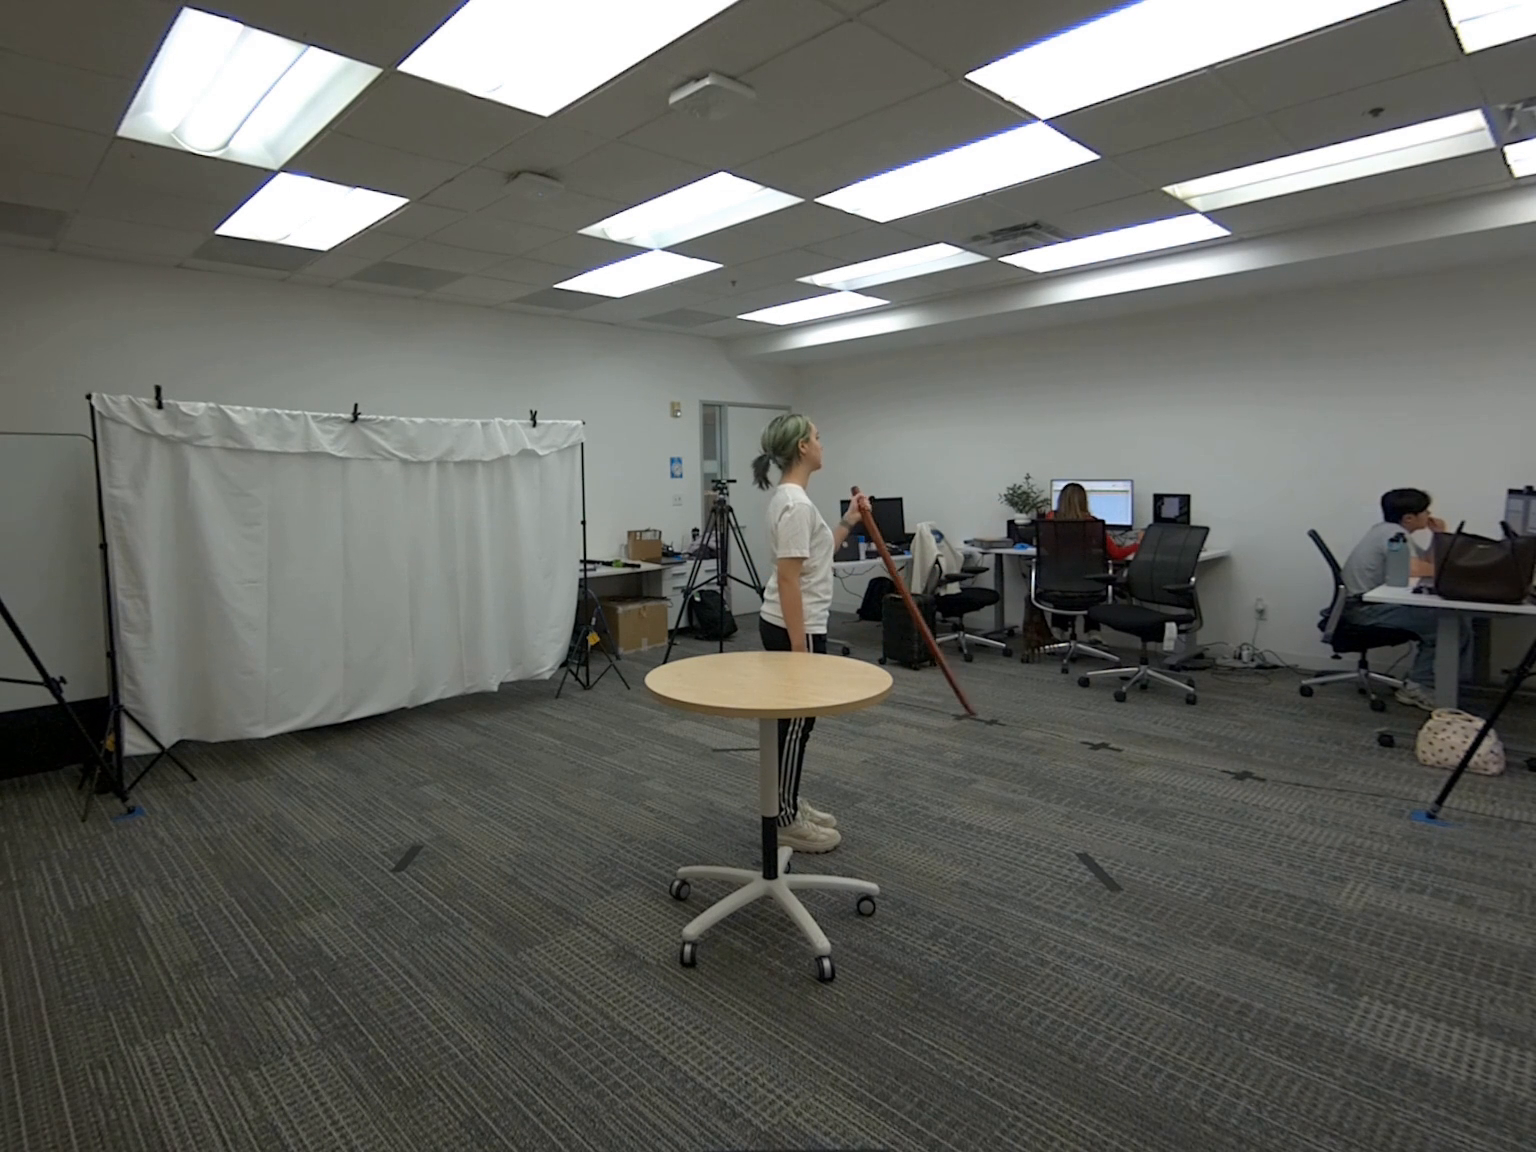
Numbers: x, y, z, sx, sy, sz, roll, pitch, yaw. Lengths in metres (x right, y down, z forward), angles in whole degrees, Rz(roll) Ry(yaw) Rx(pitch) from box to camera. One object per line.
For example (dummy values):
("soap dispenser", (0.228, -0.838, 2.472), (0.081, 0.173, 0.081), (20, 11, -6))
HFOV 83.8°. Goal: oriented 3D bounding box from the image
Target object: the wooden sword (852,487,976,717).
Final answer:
("wooden sword", (0.545, 0.084, 3.295), (0.023, 1.053, 0.051), (3, -35, -45))
